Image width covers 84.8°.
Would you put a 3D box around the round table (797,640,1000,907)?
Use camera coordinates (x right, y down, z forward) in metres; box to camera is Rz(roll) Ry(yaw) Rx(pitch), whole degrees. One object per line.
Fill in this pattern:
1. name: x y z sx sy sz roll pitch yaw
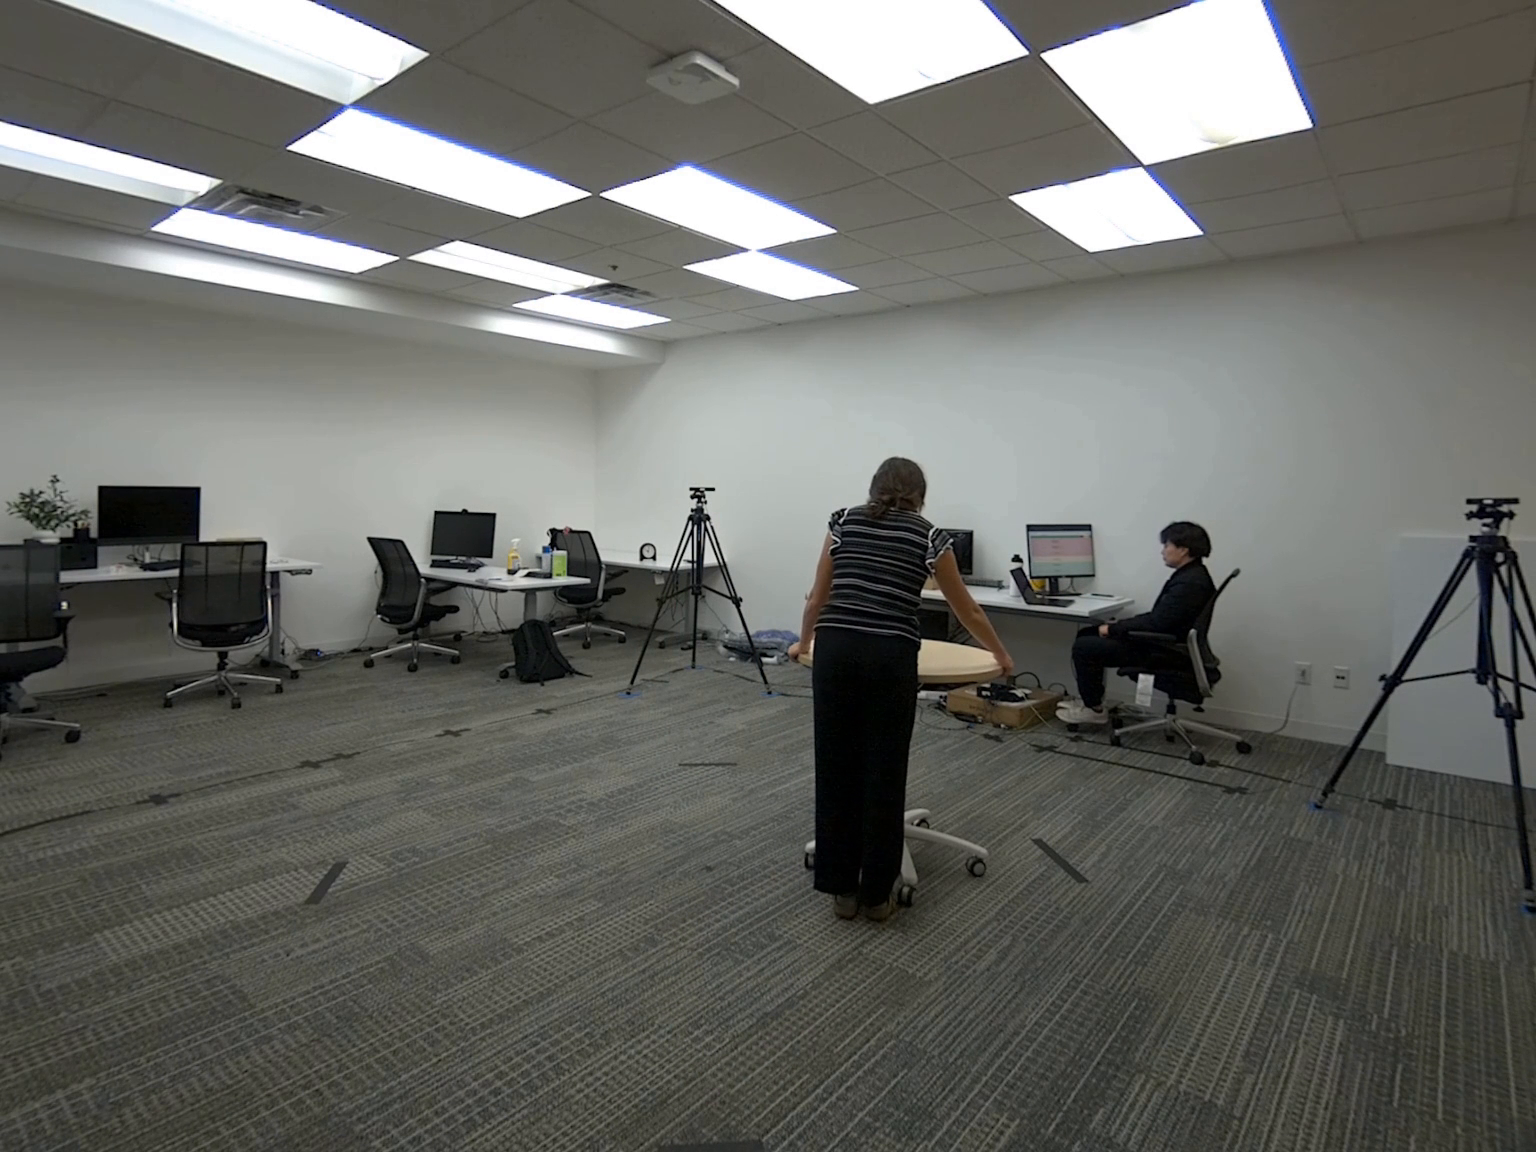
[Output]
1. round table: 0.464 0.679 3.219 0.763 0.791 0.768 1 4 -2
